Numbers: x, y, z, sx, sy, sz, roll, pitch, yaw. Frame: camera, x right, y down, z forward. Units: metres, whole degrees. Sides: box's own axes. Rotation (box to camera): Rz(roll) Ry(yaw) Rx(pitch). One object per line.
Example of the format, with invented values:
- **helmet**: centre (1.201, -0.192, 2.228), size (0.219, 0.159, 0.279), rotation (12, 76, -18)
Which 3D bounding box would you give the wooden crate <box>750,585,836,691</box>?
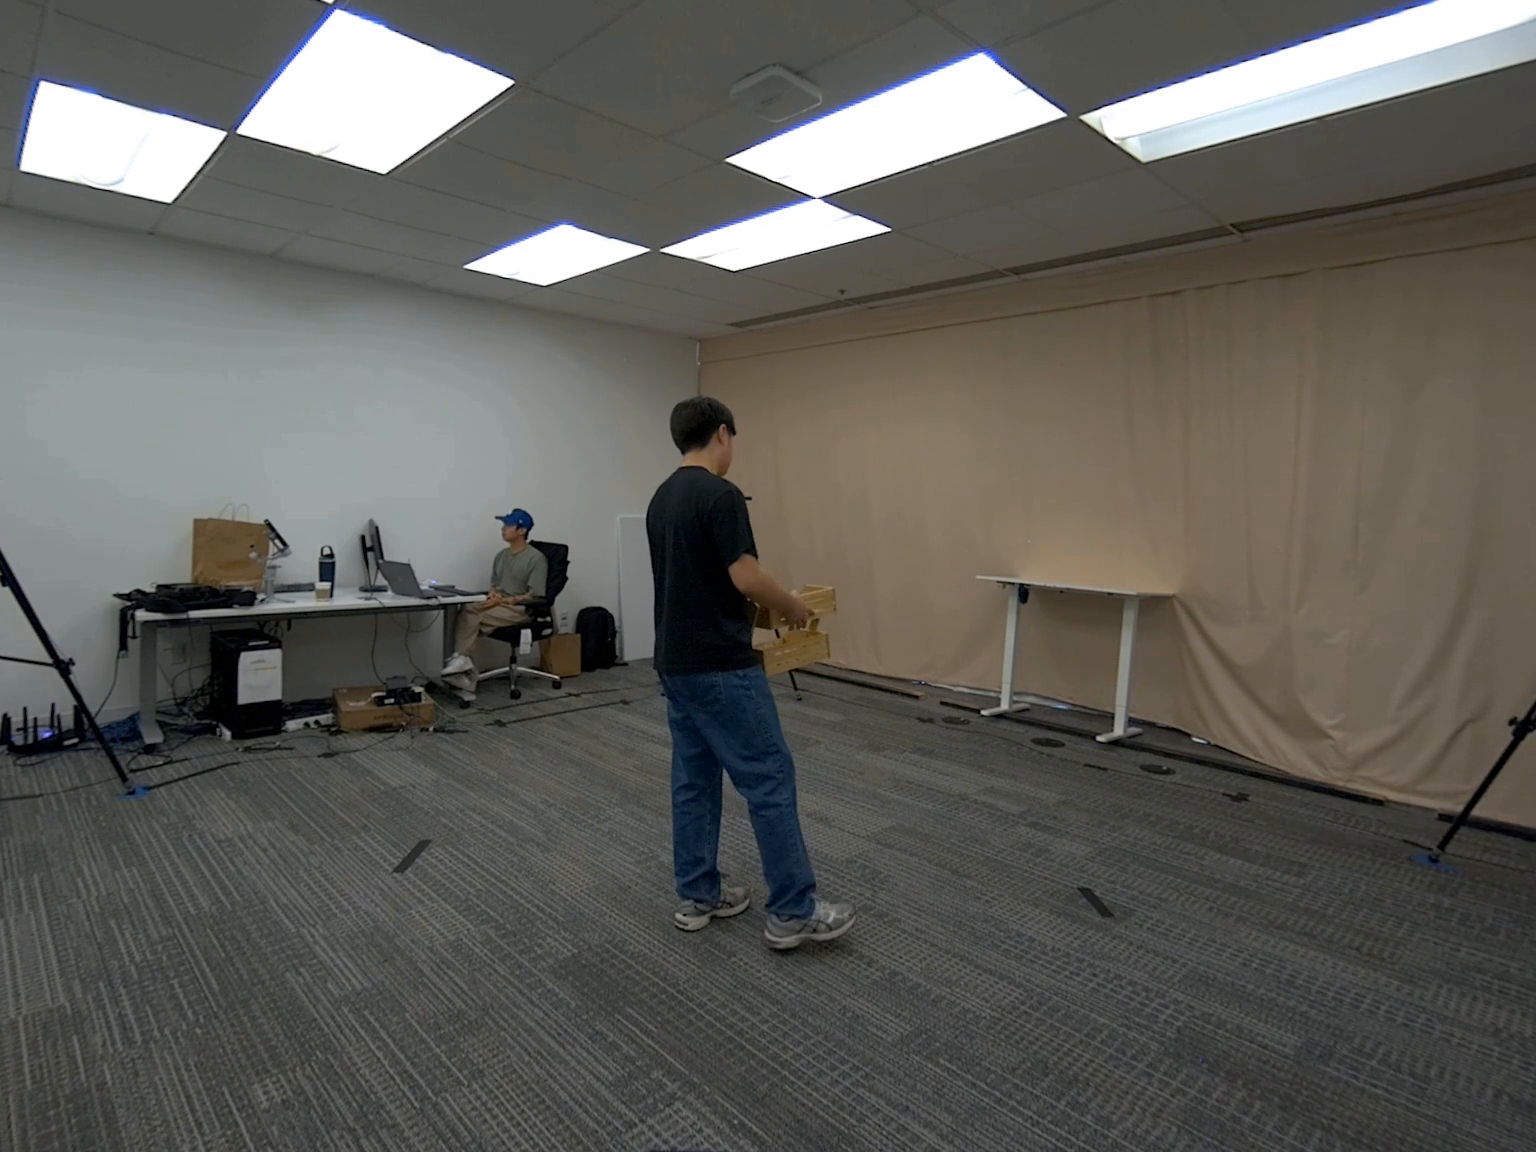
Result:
- **wooden crate**: centre (0.031, 0.181, 2.993), size (0.318, 0.271, 0.309), rotation (-11, 11, -37)
